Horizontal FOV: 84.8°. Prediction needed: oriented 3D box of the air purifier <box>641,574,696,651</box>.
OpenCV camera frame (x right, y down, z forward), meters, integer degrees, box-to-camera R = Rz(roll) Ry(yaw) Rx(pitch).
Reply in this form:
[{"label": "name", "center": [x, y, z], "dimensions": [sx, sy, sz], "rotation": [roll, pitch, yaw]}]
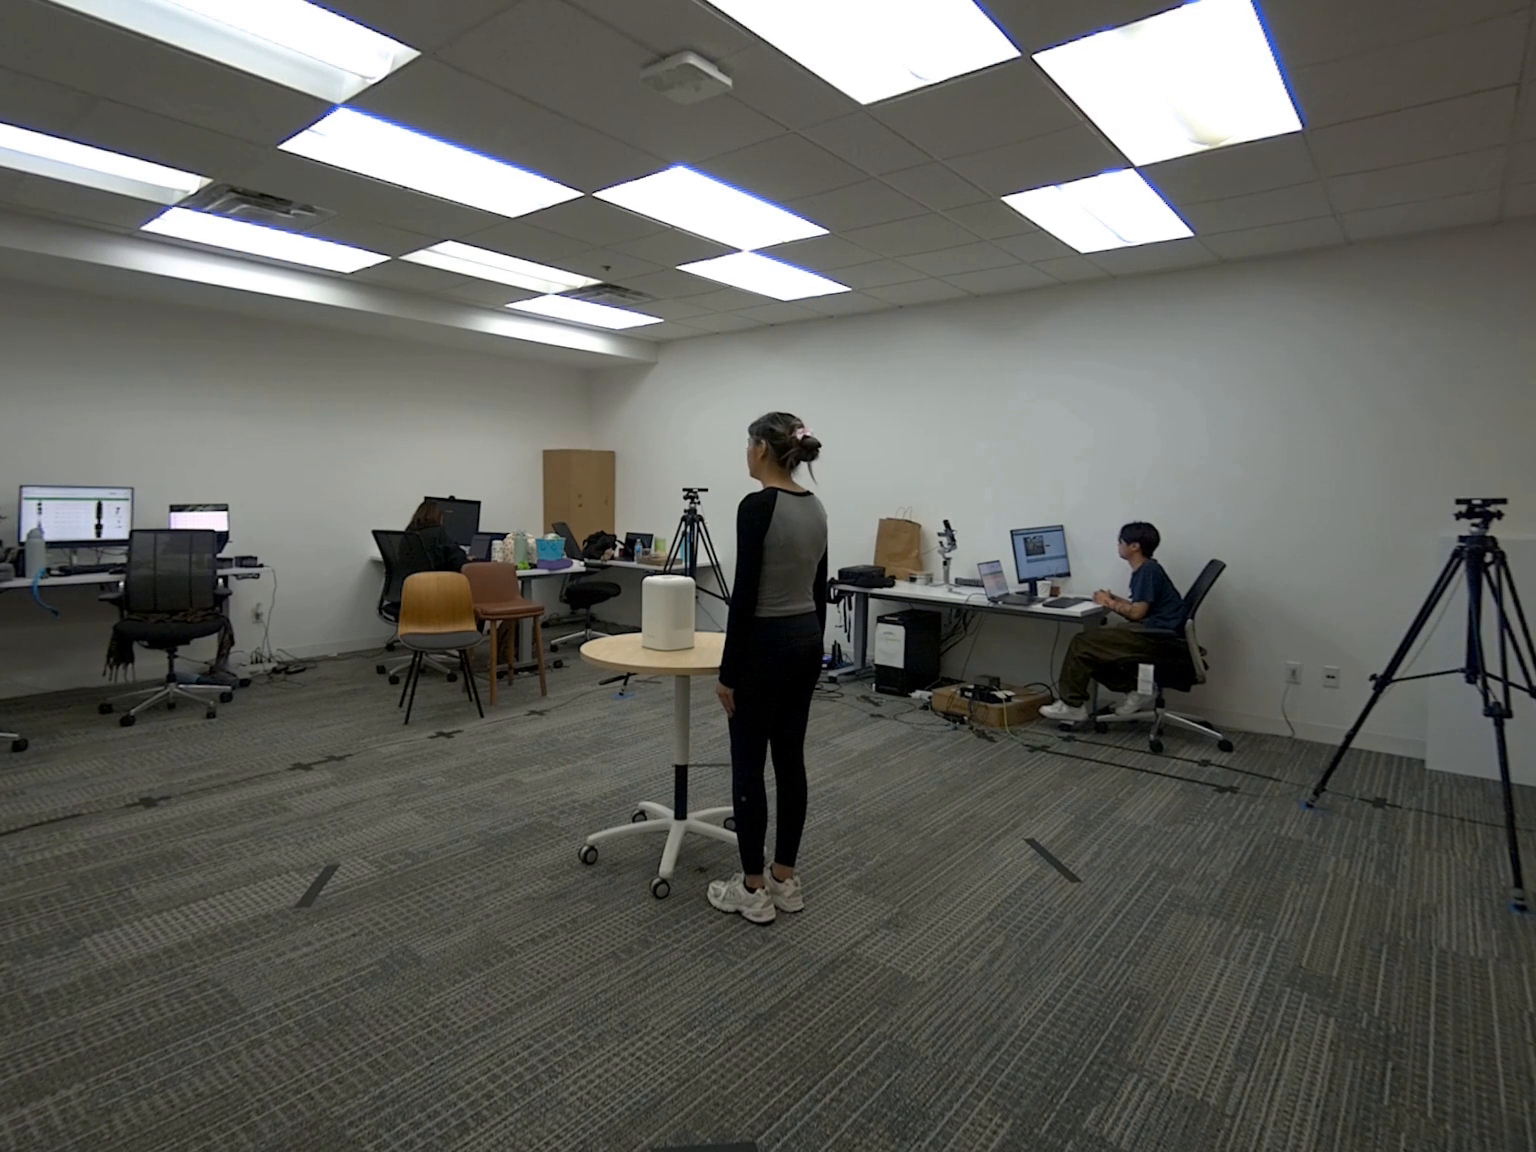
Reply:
[{"label": "air purifier", "center": [-0.385, 0.131, 3.203], "dimensions": [0.177, 0.265, 0.166], "rotation": [3, 3, 44]}]
